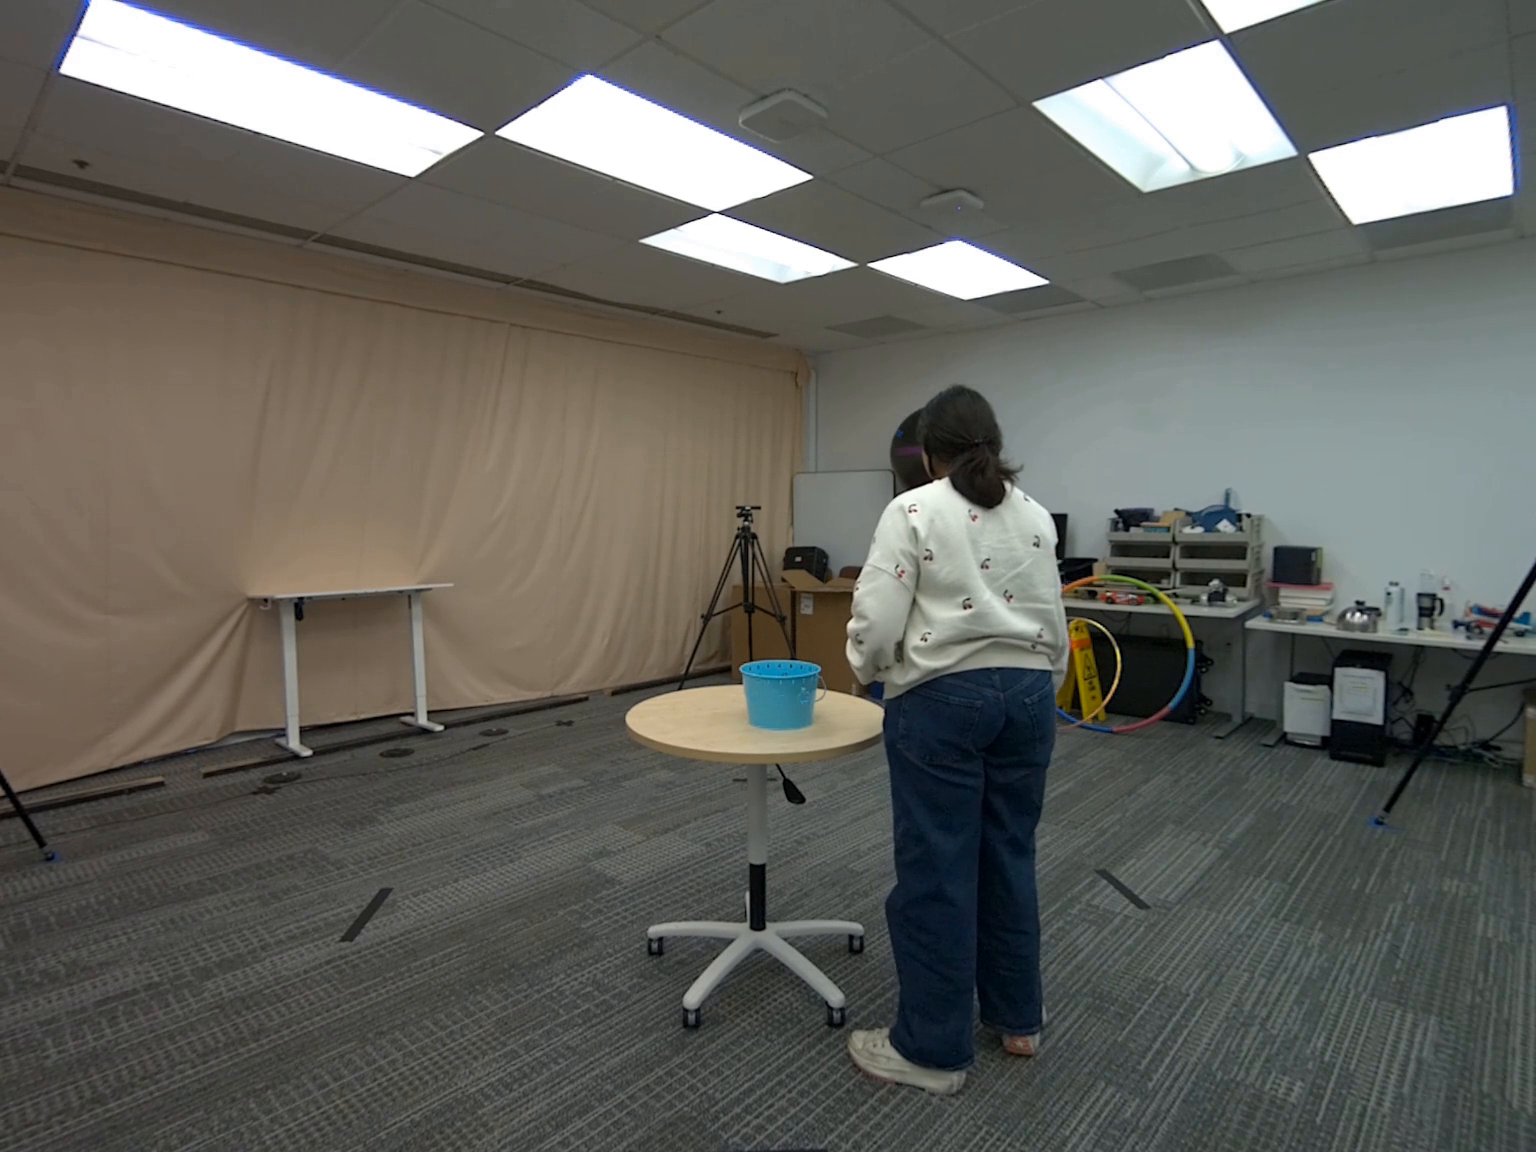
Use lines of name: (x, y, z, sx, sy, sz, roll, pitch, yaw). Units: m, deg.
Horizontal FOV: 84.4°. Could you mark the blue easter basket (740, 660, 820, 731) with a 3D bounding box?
blue easter basket: (0.051, 0.342, 2.373, 0.243, 0.155, 0.245, -1, 7, -2)
